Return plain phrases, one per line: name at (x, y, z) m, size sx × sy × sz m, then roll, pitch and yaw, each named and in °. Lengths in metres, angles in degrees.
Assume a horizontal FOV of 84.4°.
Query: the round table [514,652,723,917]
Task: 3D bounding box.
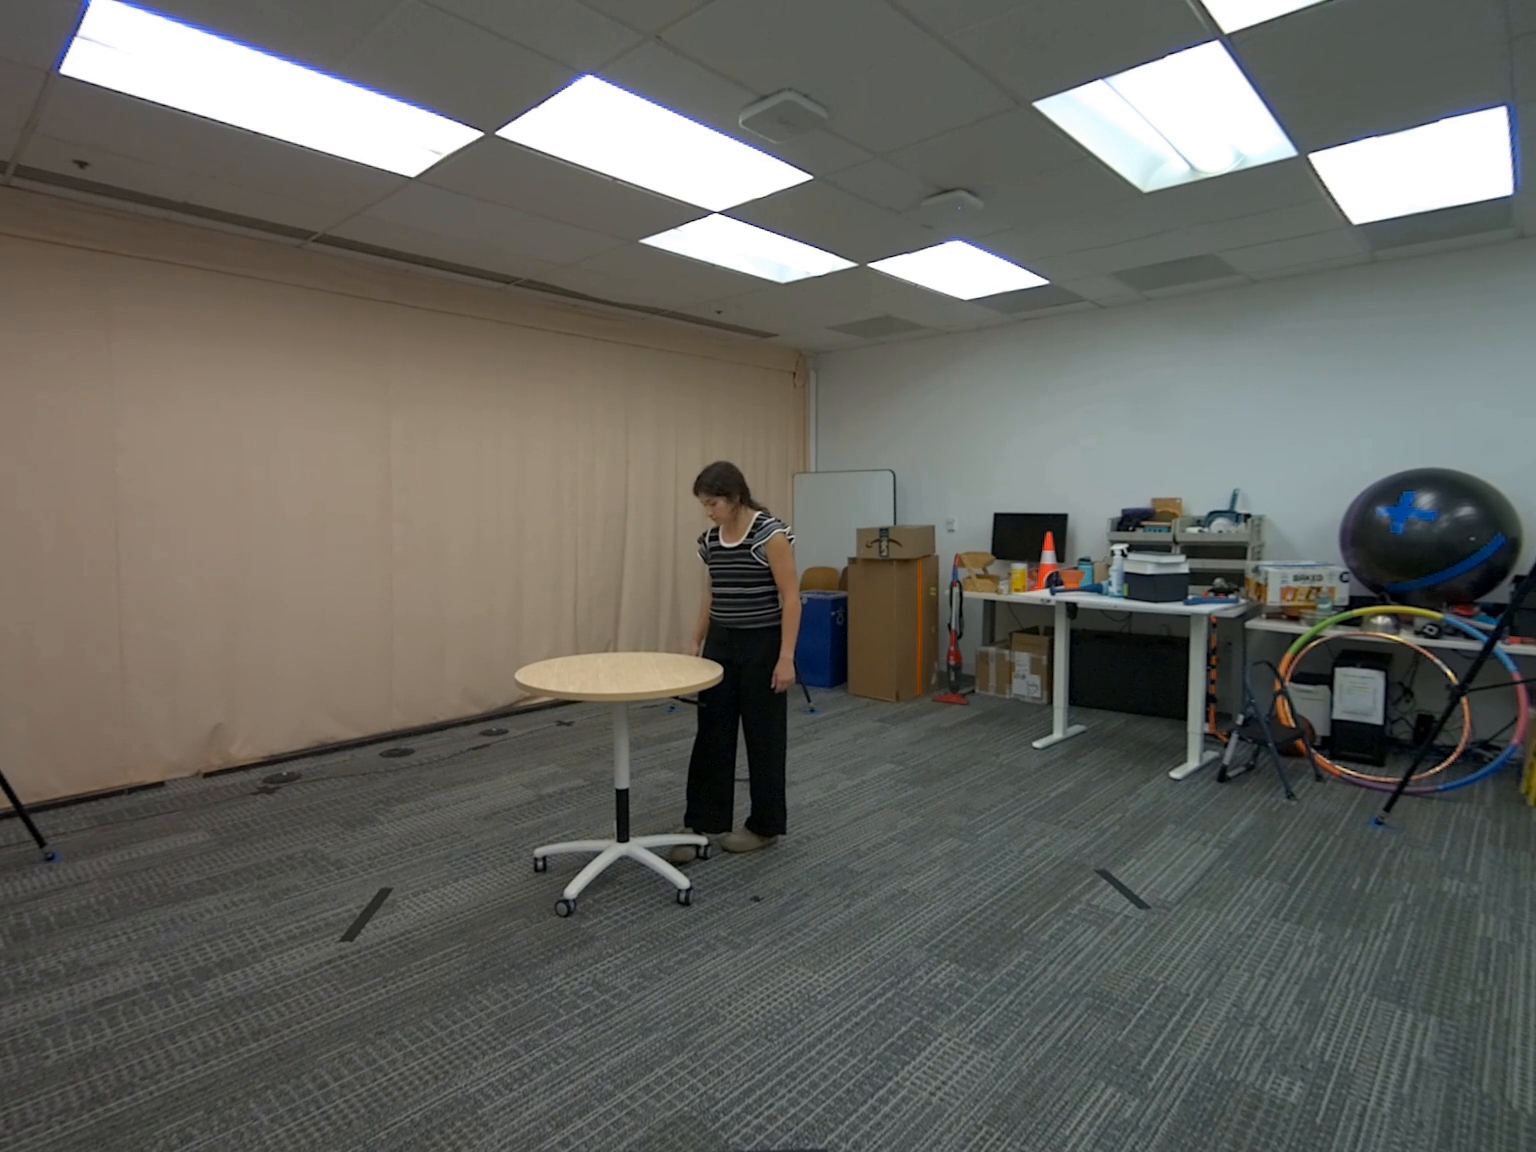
round table at (-0.559, 0.742, 3.147) m, size 0.784 × 0.785 × 0.788 m, roll -1°, pitch 4°, yaw -2°
